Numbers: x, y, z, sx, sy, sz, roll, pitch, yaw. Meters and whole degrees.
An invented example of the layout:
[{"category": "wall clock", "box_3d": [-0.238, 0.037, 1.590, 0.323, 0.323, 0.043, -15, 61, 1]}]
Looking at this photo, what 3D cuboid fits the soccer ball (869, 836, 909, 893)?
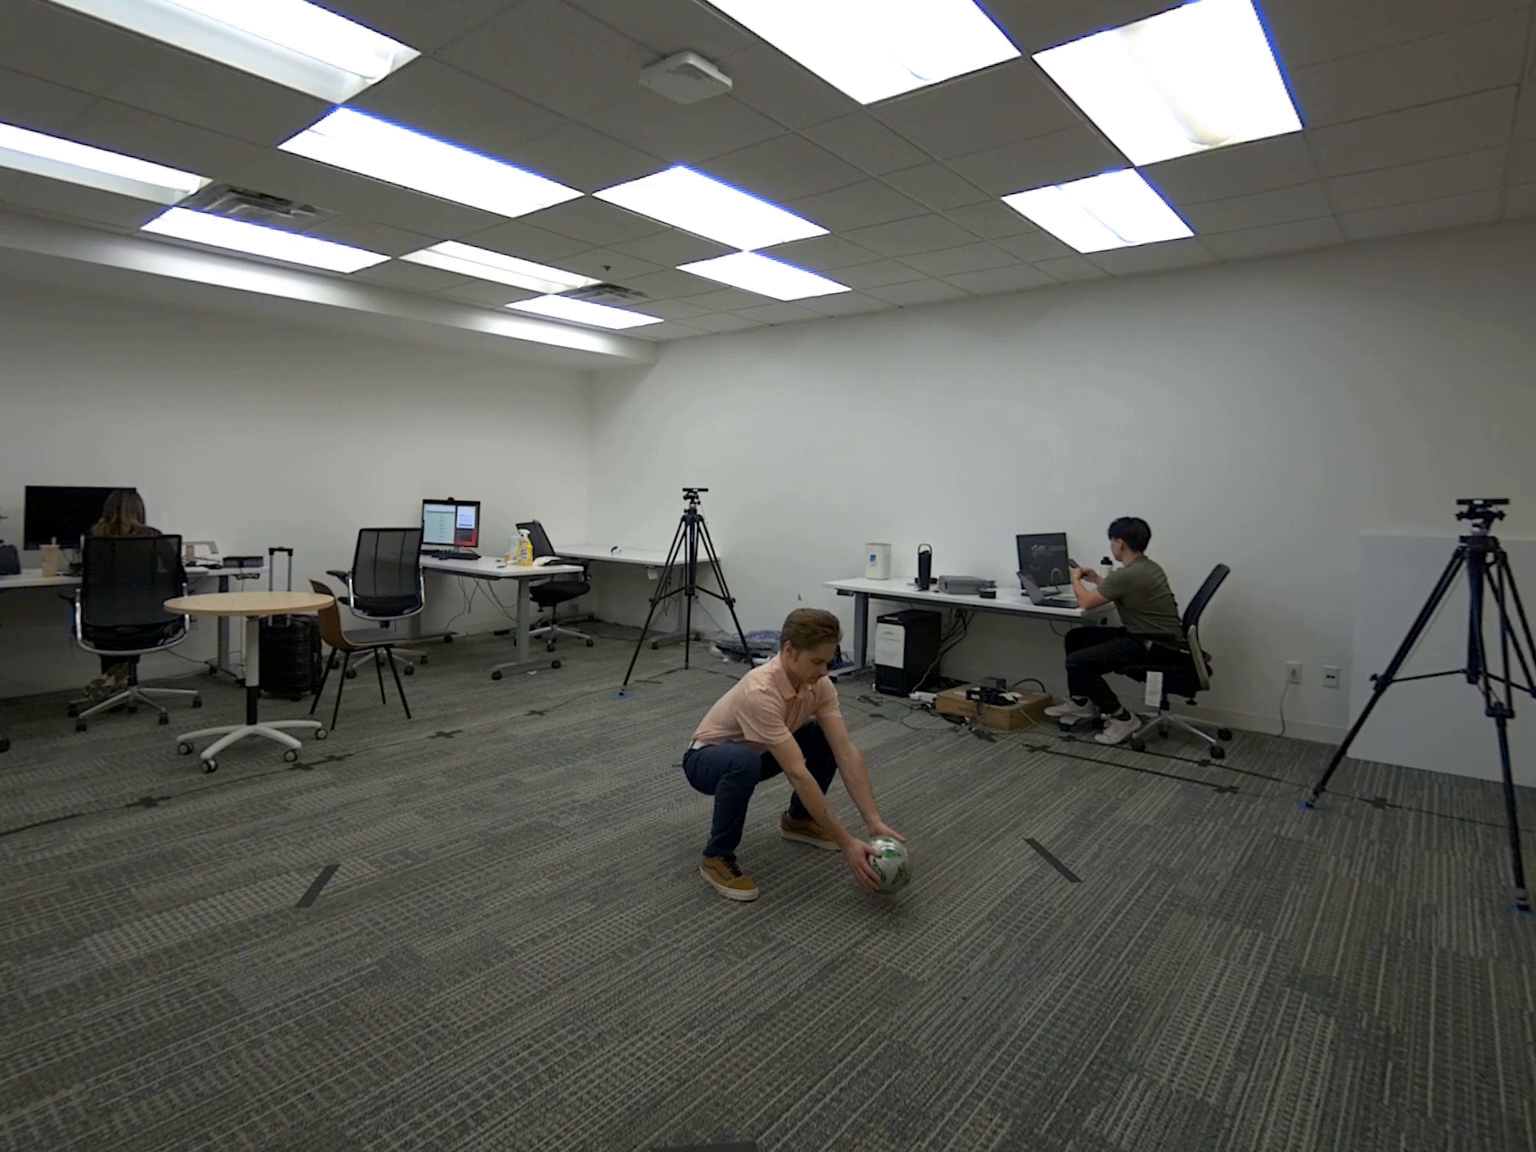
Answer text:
[{"category": "soccer ball", "box_3d": [0.384, 0.967, 2.868, 0.187, 0.187, 0.188, 1, 4, -2]}]
